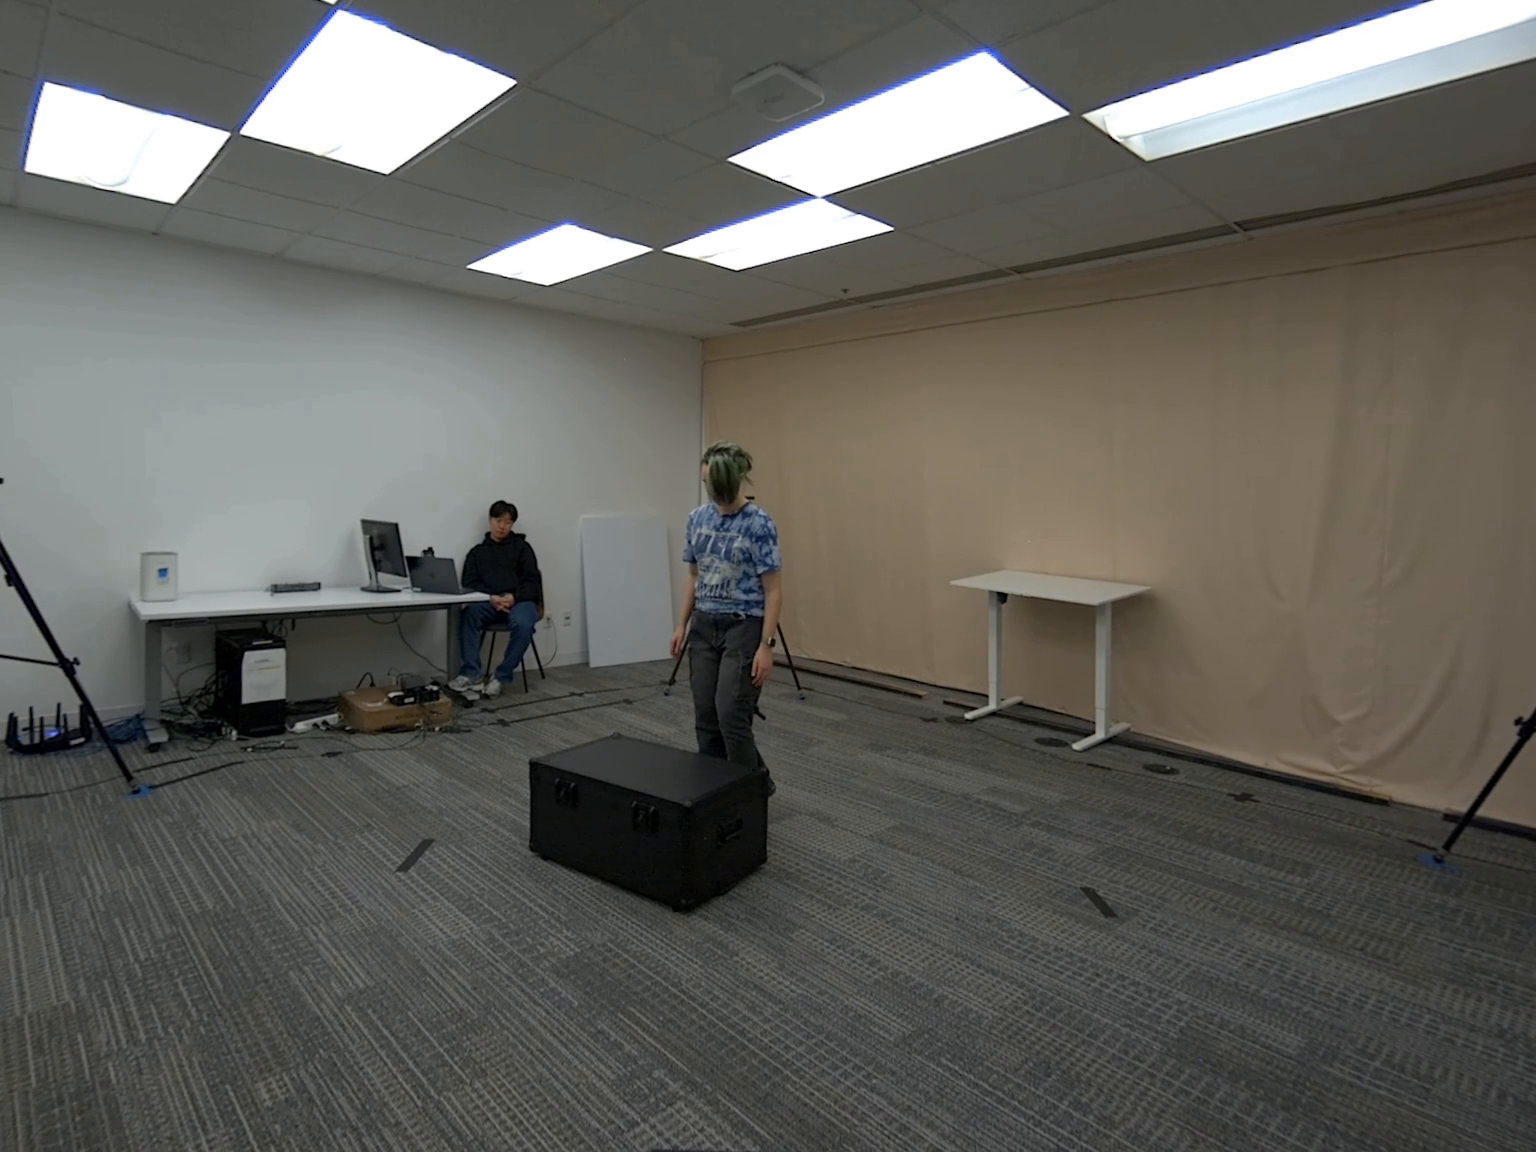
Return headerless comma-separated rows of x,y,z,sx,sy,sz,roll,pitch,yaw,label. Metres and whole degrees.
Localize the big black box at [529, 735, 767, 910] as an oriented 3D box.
-0.490,0.897,3.204,0.882,0.395,0.510,5,6,34,big black box
